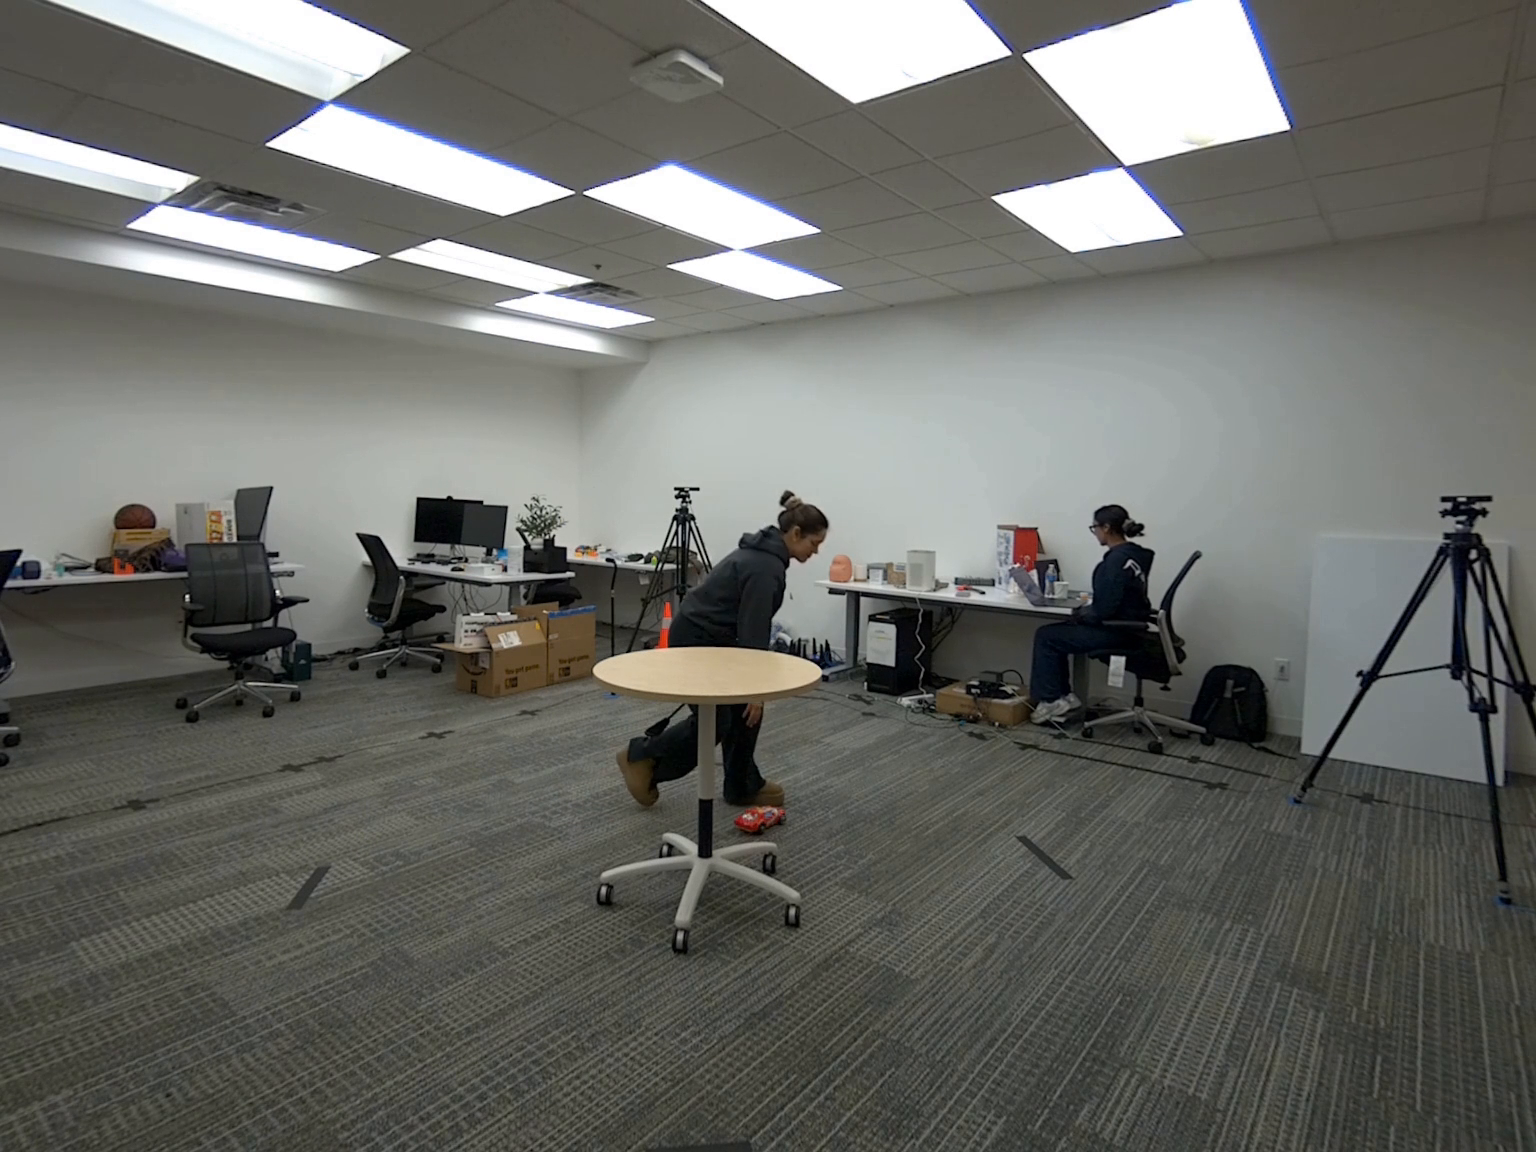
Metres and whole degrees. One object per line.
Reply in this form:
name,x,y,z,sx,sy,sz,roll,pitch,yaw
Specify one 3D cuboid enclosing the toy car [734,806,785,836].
toy car,-0.046,0.999,3.501,0.134,0.083,0.245,4,-5,39
